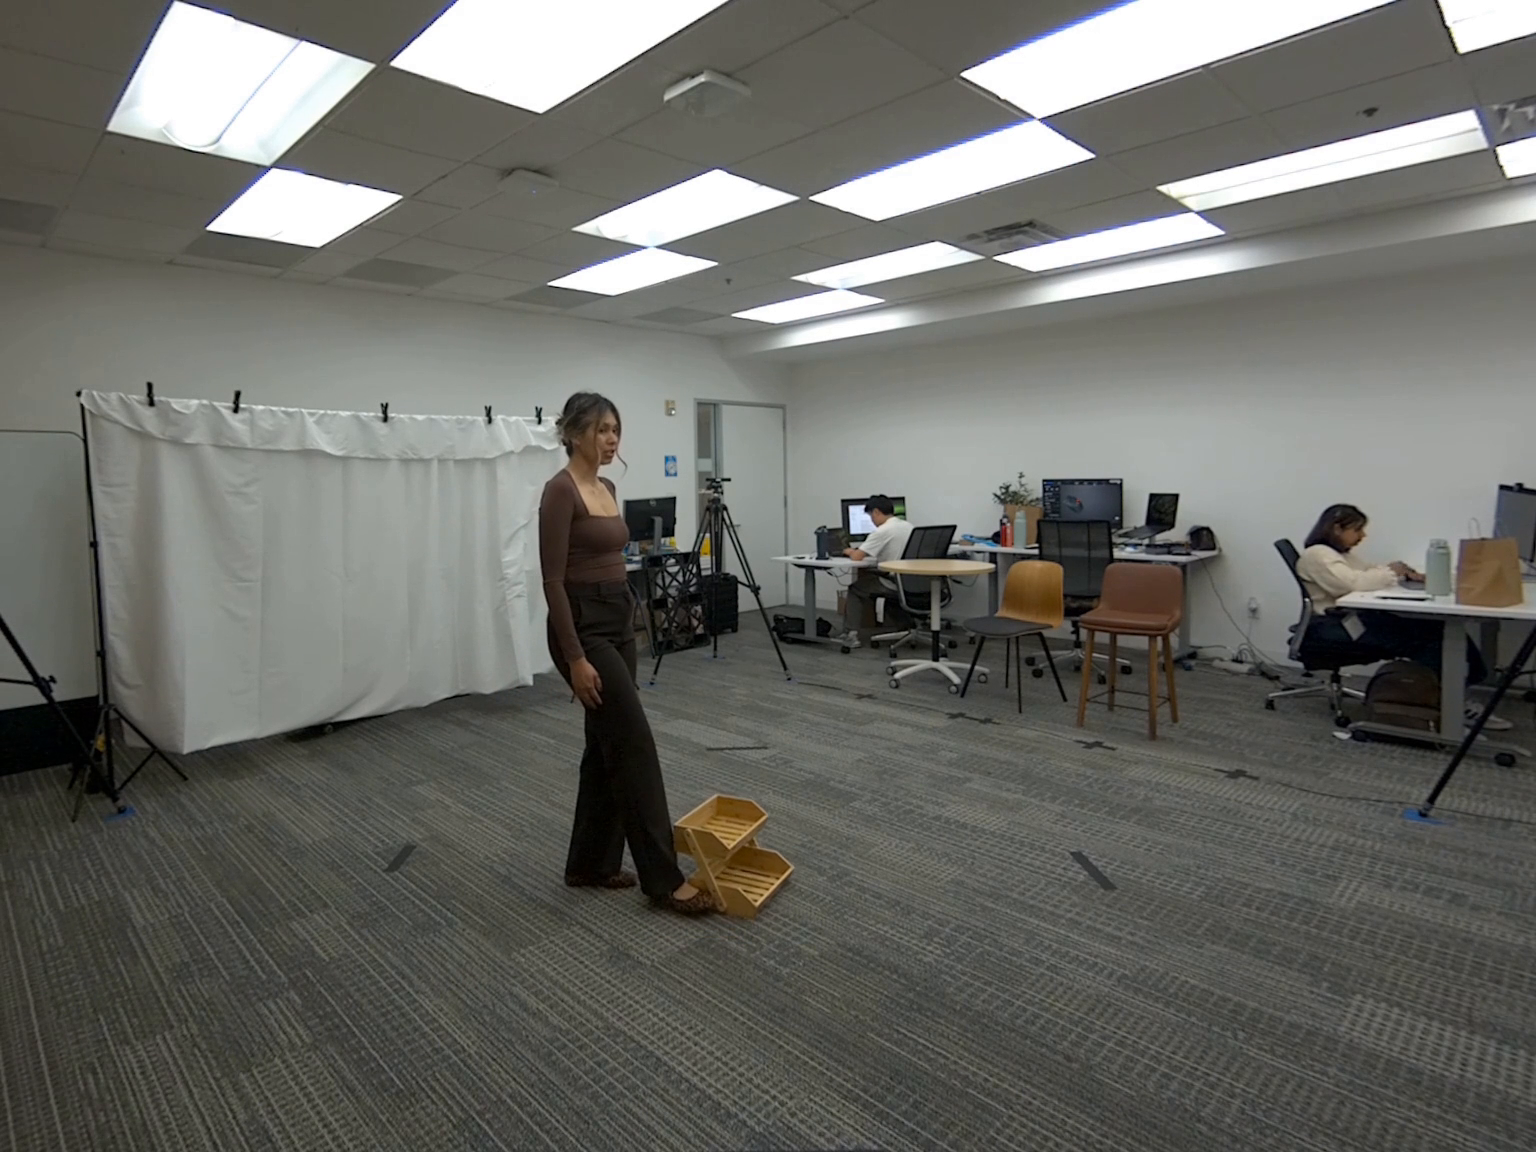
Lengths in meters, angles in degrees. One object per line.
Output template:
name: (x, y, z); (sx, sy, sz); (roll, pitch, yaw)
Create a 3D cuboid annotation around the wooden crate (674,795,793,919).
wooden crate: (-0.108, 0.929, 2.887); (0.309, 0.272, 0.318); (1, 5, 26)
